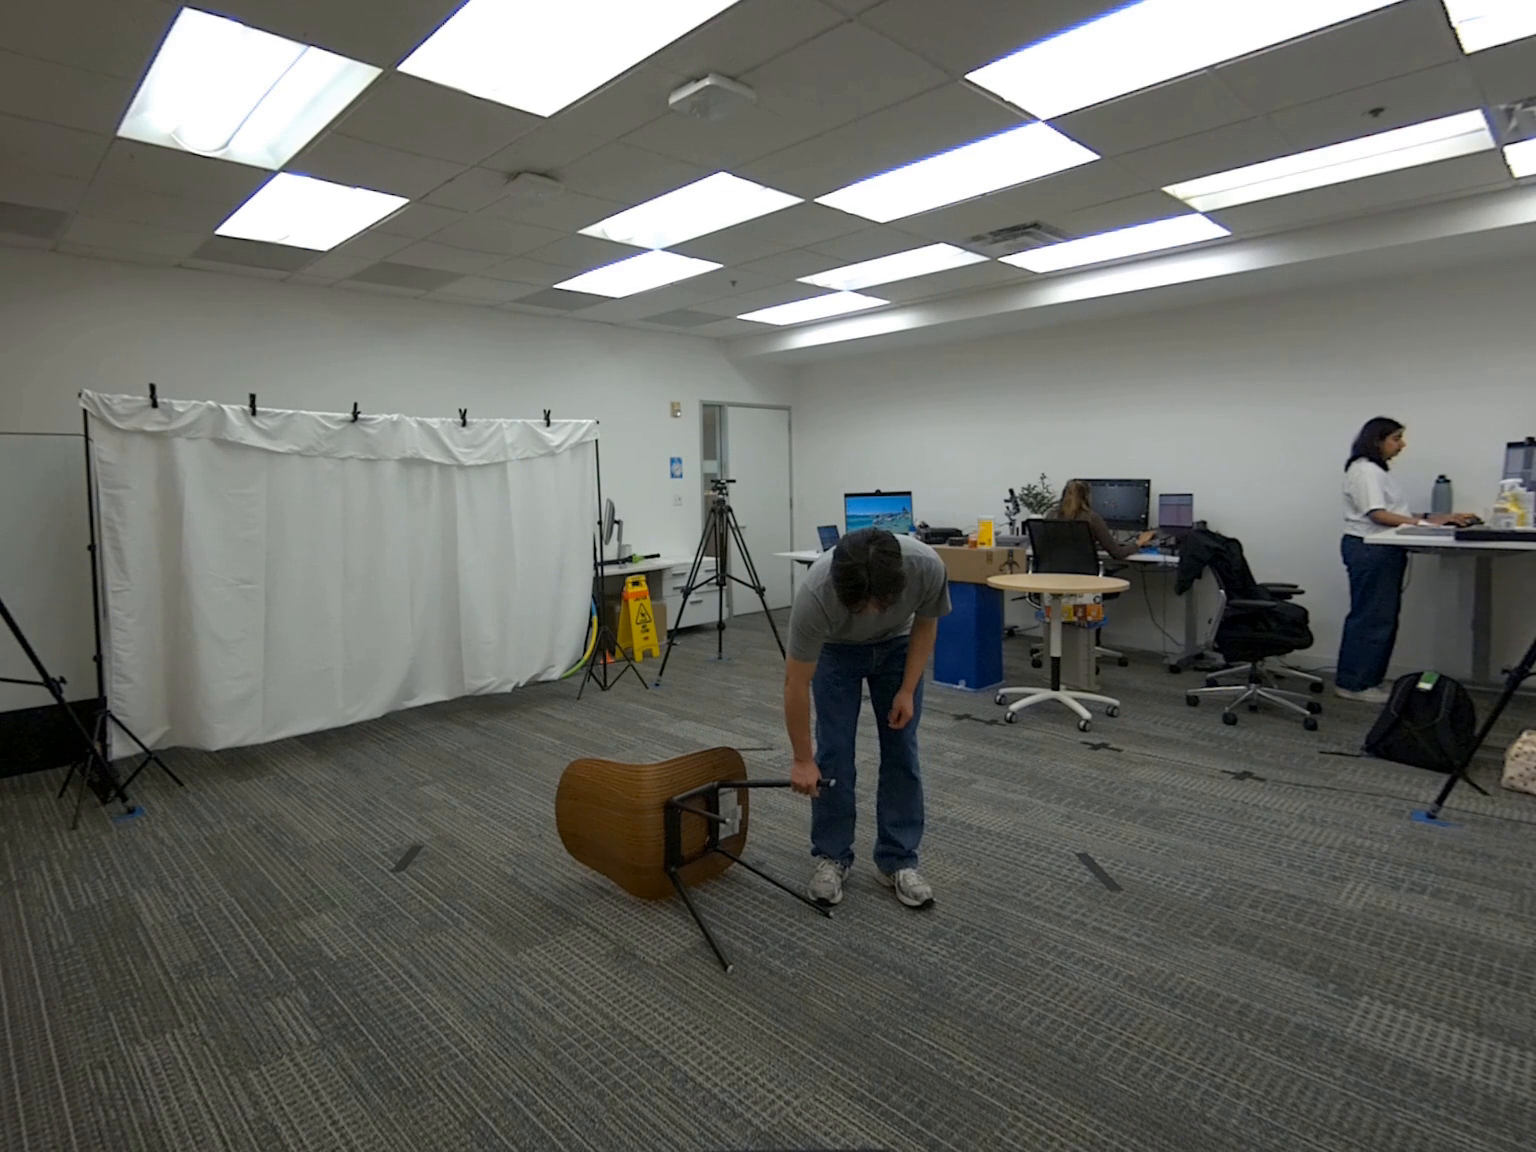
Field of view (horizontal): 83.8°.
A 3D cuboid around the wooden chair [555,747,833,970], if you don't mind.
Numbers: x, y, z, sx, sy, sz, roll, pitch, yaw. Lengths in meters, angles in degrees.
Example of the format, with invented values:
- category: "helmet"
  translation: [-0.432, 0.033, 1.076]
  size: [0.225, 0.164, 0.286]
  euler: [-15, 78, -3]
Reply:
- category: "wooden chair"
  translation: [-0.242, 0.846, 2.868]
  size: [0.905, 0.476, 0.510]
  euler: [6, 9, 42]
